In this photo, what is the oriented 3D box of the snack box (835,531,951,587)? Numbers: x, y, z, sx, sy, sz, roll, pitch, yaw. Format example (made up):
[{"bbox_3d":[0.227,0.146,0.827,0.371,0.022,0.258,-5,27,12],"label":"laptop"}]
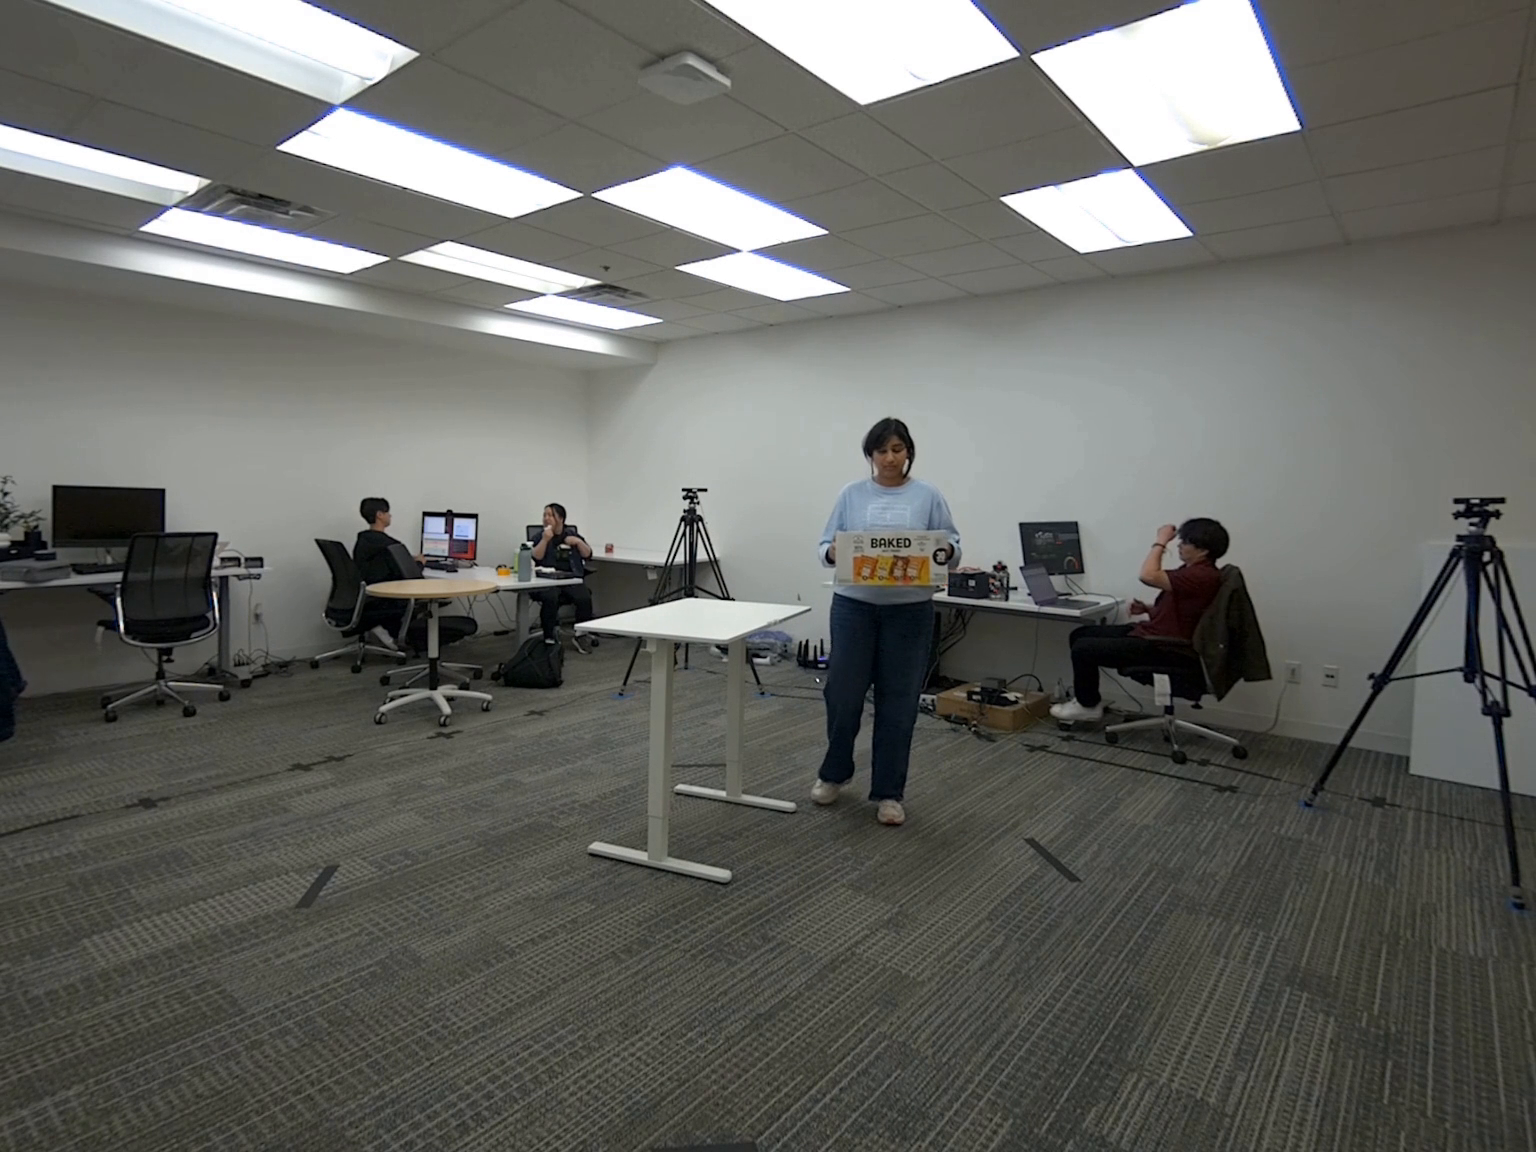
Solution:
[{"bbox_3d":[0.463,-0.072,3.300,0.409,0.206,0.337,0,1,9],"label":"snack box"}]
